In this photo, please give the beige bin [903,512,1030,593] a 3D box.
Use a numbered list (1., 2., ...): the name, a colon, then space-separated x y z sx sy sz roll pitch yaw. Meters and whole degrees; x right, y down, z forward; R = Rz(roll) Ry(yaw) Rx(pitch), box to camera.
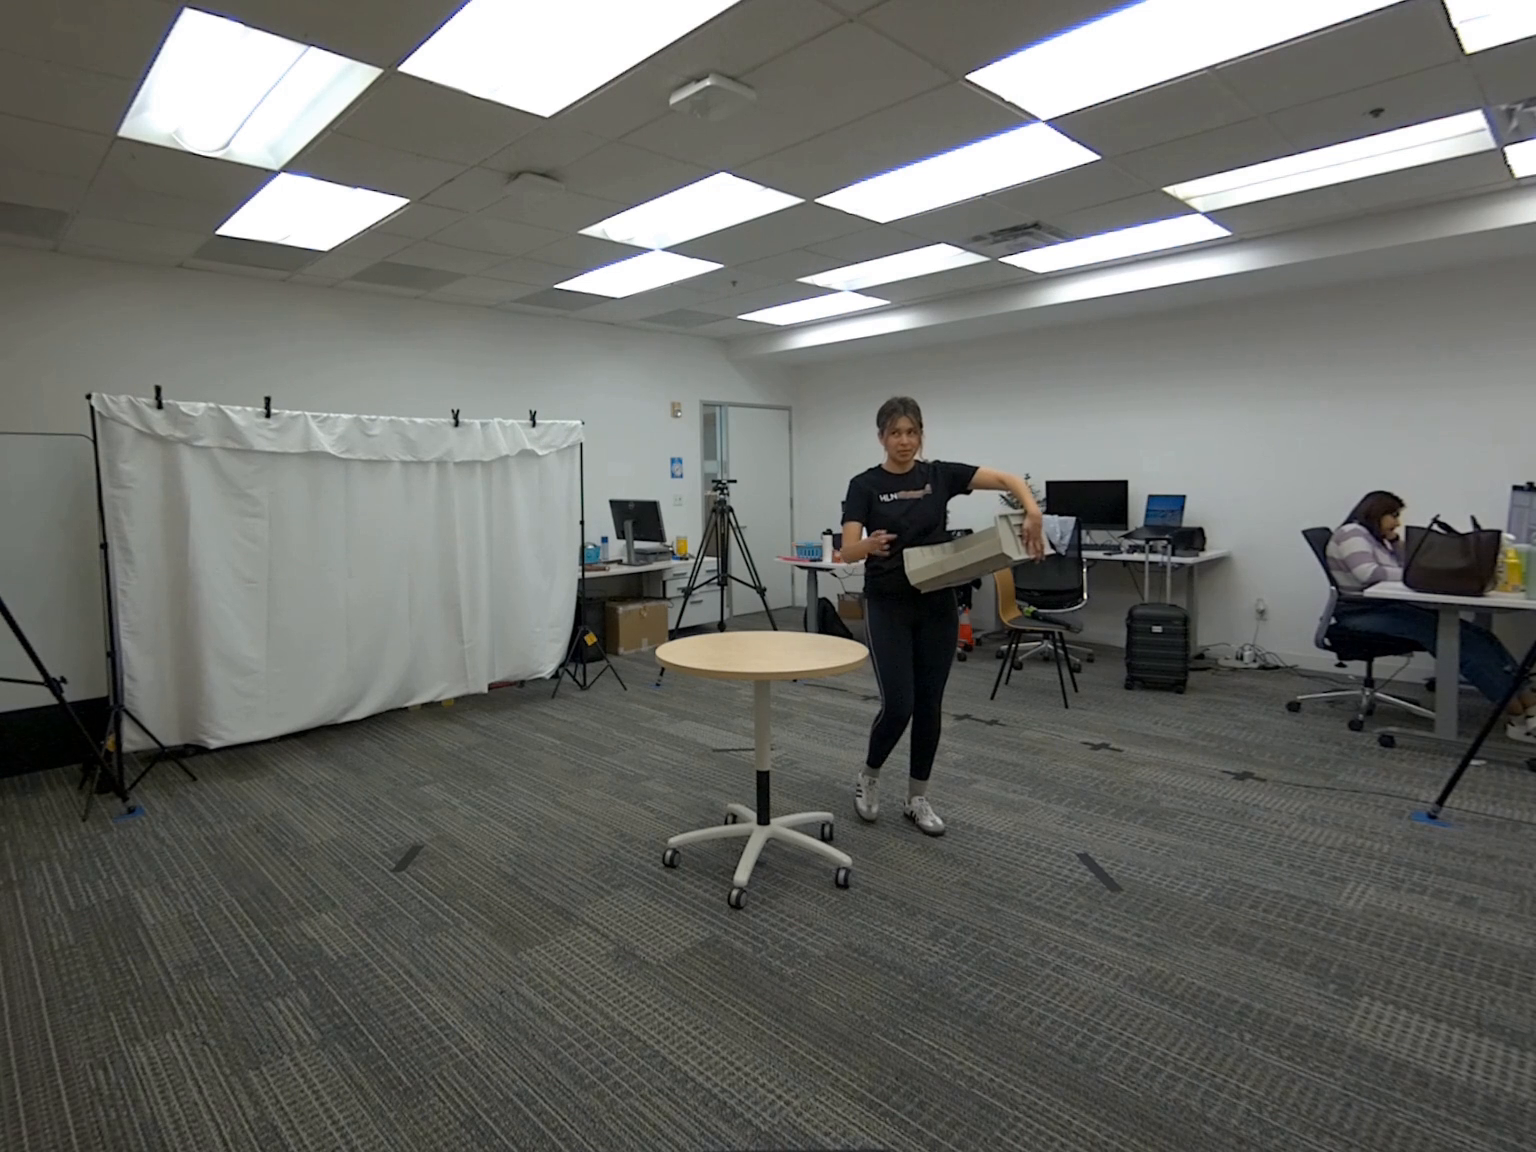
1. beige bin: 0.780 -0.094 3.214 0.367 0.191 0.428 -7 -13 -45
